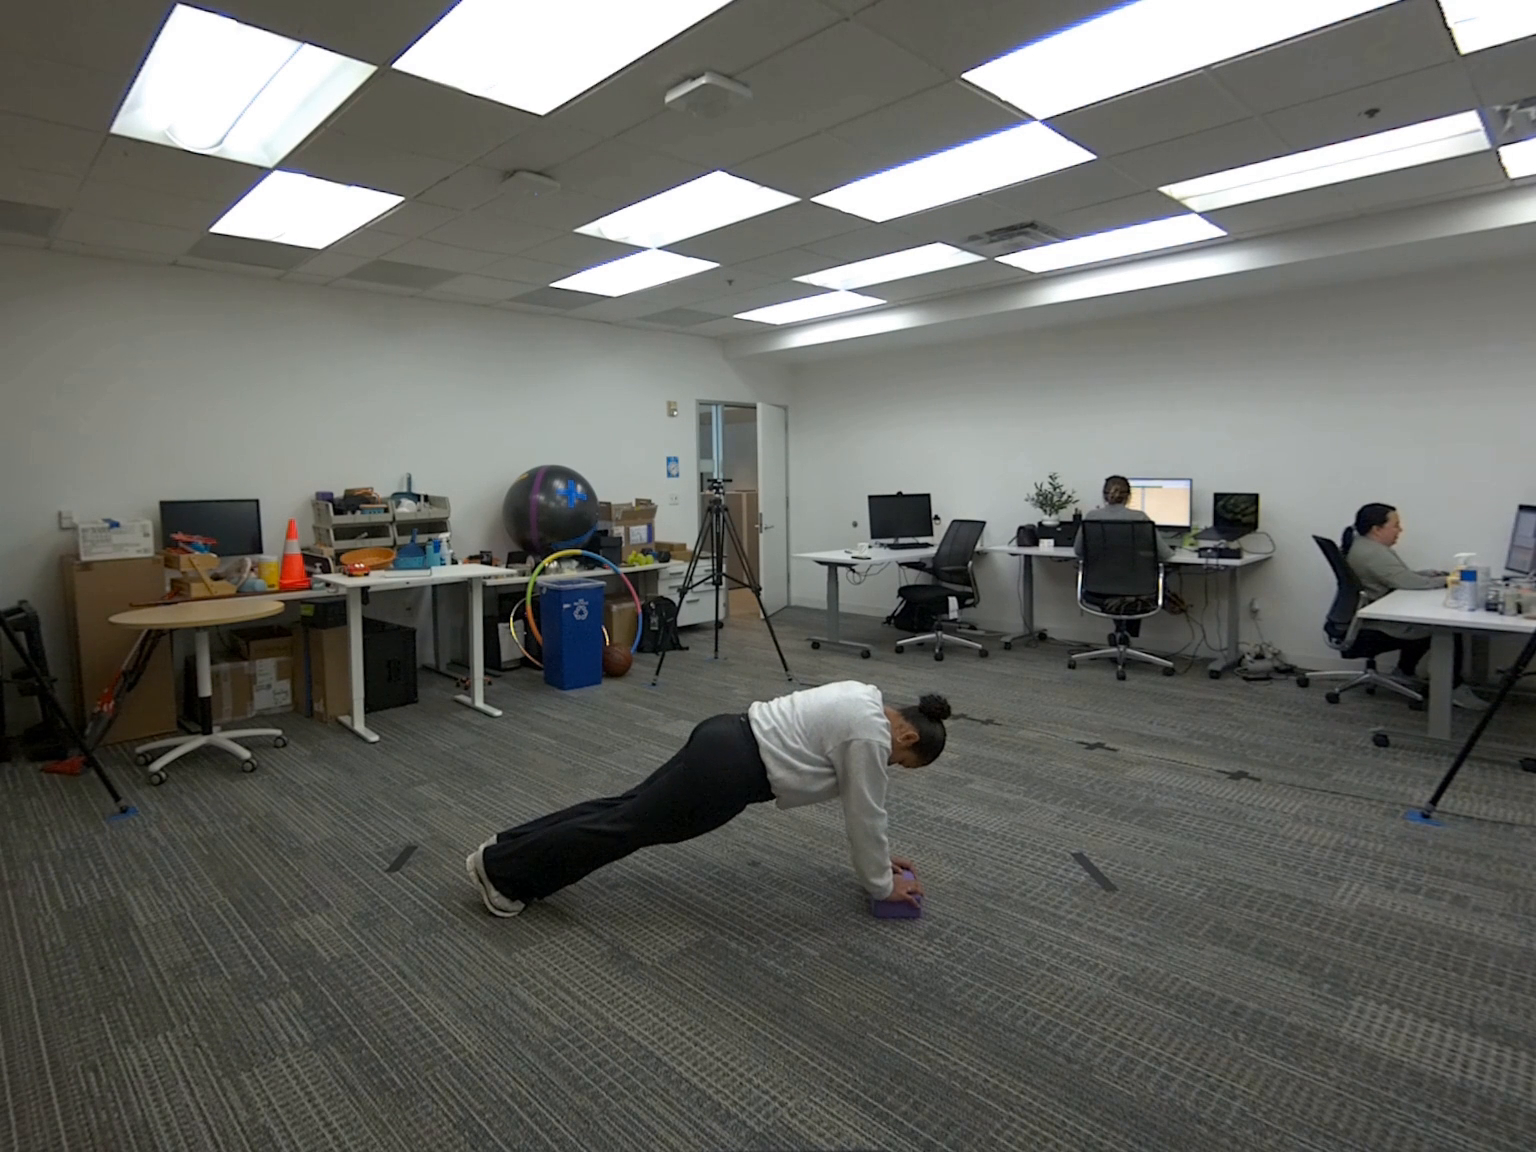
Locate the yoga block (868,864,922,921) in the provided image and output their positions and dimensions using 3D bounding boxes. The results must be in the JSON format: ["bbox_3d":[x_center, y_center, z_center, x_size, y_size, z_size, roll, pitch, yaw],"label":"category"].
[{"bbox_3d":[0.411,1.023,2.803,0.149,0.076,0.229,2,3,1],"label":"yoga block"}]
